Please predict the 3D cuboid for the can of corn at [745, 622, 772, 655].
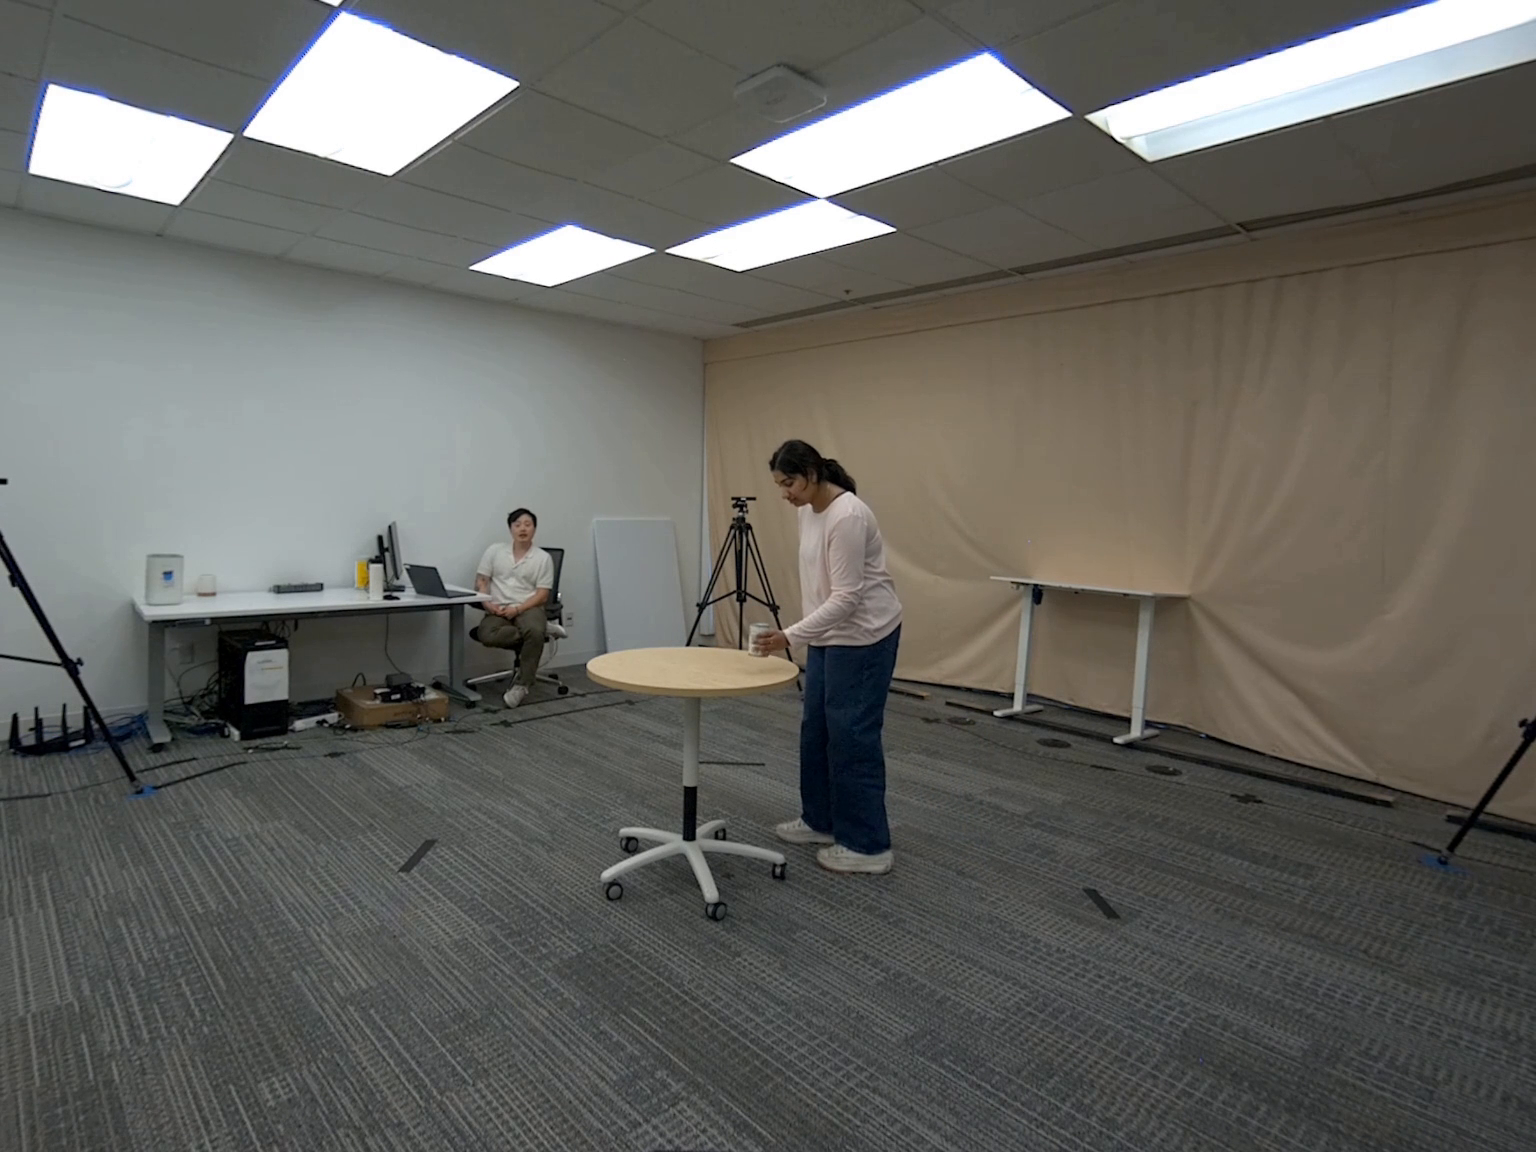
[{"bbox_3d":[-0.038,0.226,2.972,0.074,0.111,0.074,5,3,-2],"label":"can of corn"}]
